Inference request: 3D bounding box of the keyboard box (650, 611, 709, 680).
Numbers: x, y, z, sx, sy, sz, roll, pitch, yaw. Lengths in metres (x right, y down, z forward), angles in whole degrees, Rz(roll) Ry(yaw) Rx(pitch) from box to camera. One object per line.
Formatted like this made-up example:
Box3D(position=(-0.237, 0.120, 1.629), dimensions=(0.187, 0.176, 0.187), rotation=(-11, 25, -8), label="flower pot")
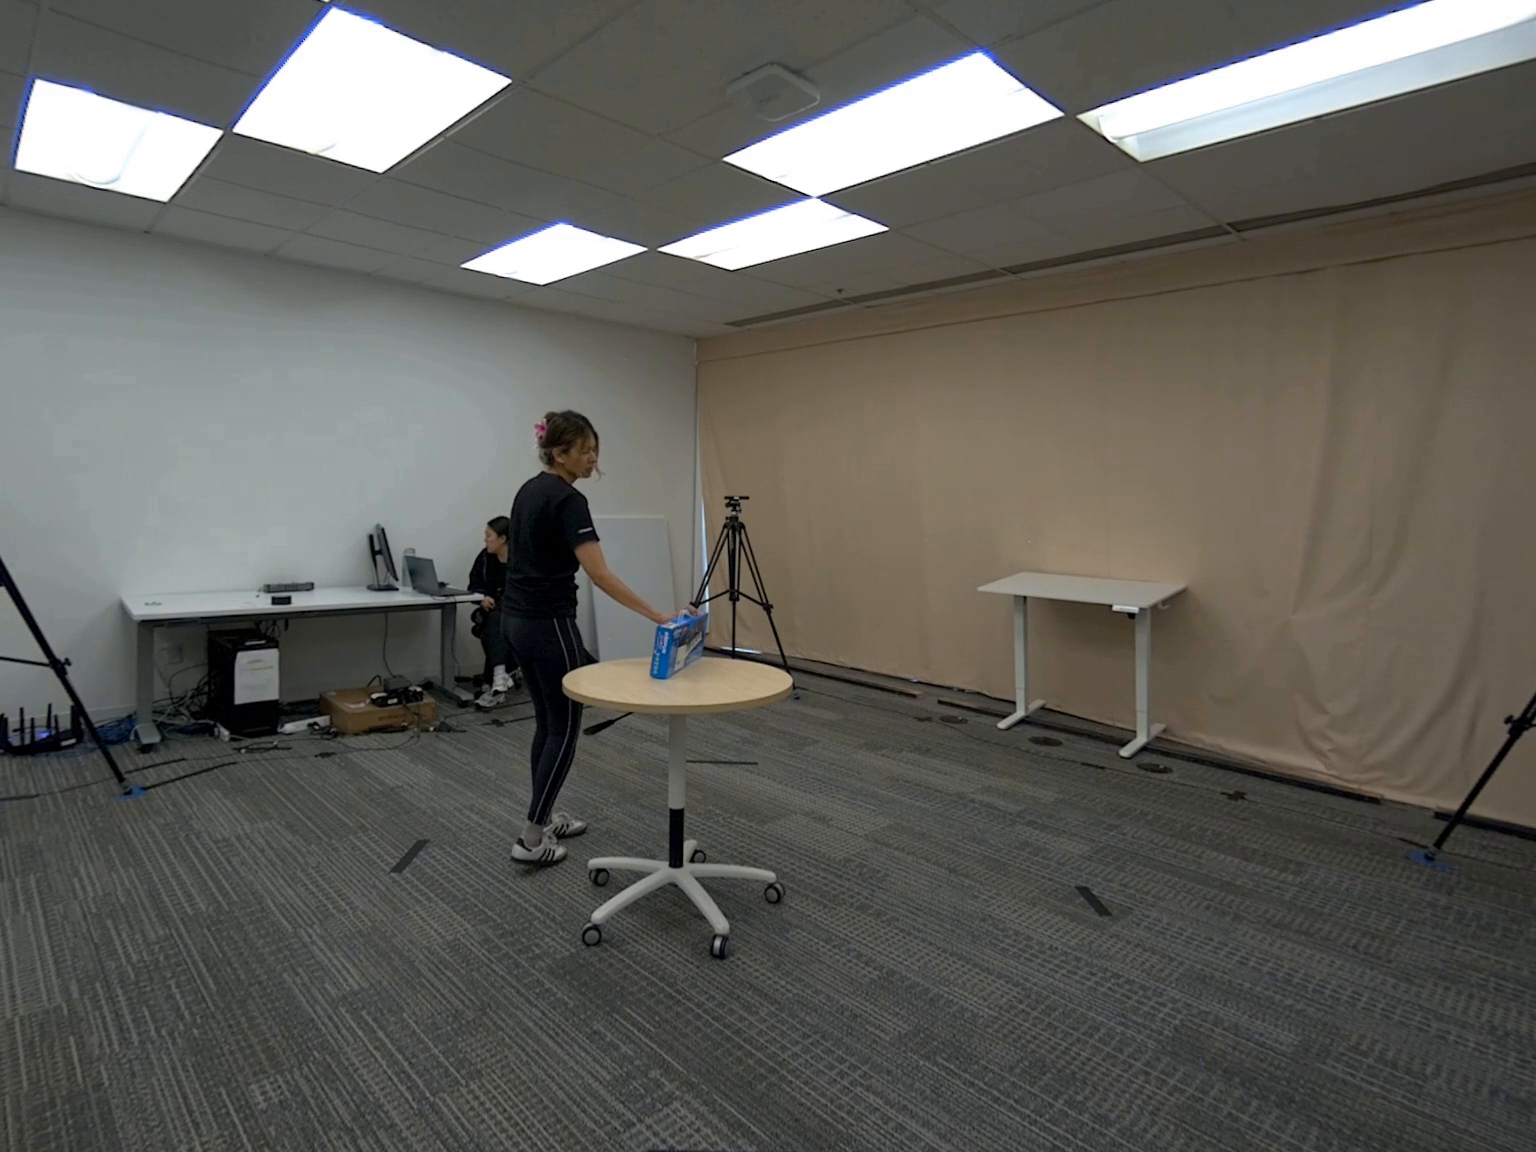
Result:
Box3D(position=(-0.314, 0.239, 2.991), dimensions=(0.060, 0.175, 0.433), rotation=(9, 7, 12), label="keyboard box")
